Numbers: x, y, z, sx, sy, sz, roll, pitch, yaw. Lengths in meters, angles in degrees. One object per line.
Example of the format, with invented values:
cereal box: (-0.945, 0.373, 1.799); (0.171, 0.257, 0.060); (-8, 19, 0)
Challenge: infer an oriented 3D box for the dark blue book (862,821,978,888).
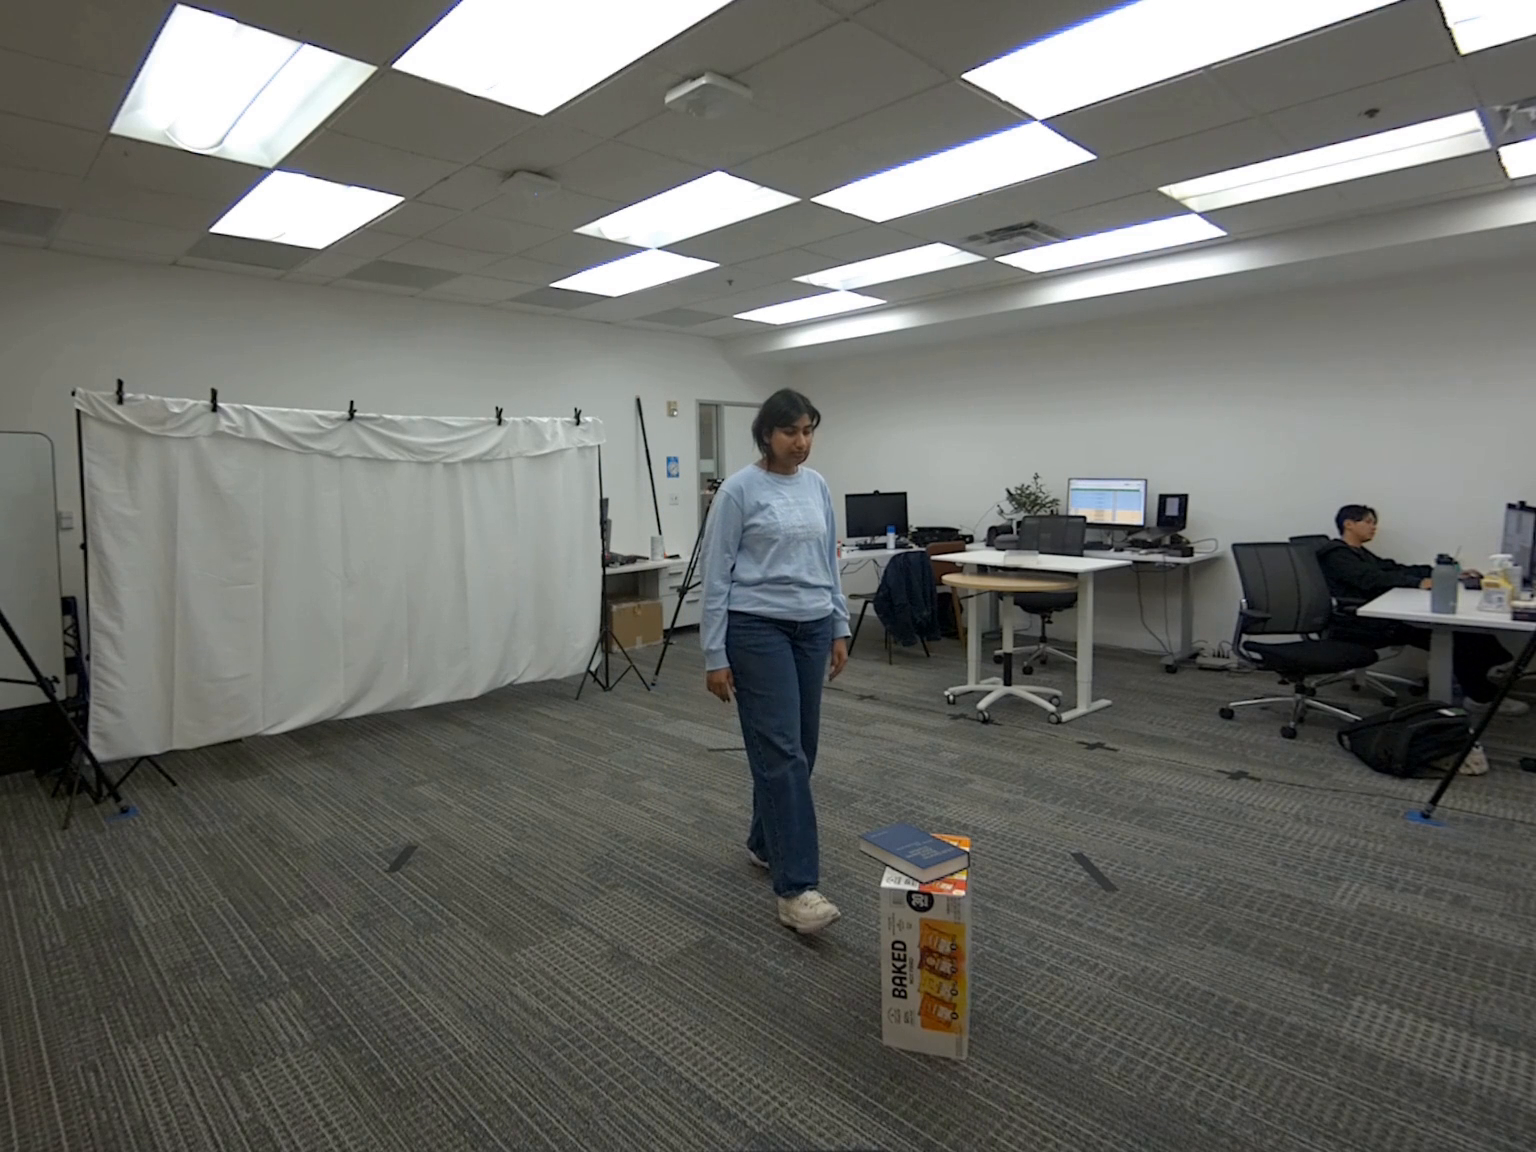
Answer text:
dark blue book: (0.388, 0.713, 2.217); (0.159, 0.045, 0.252); (-7, 7, -33)
